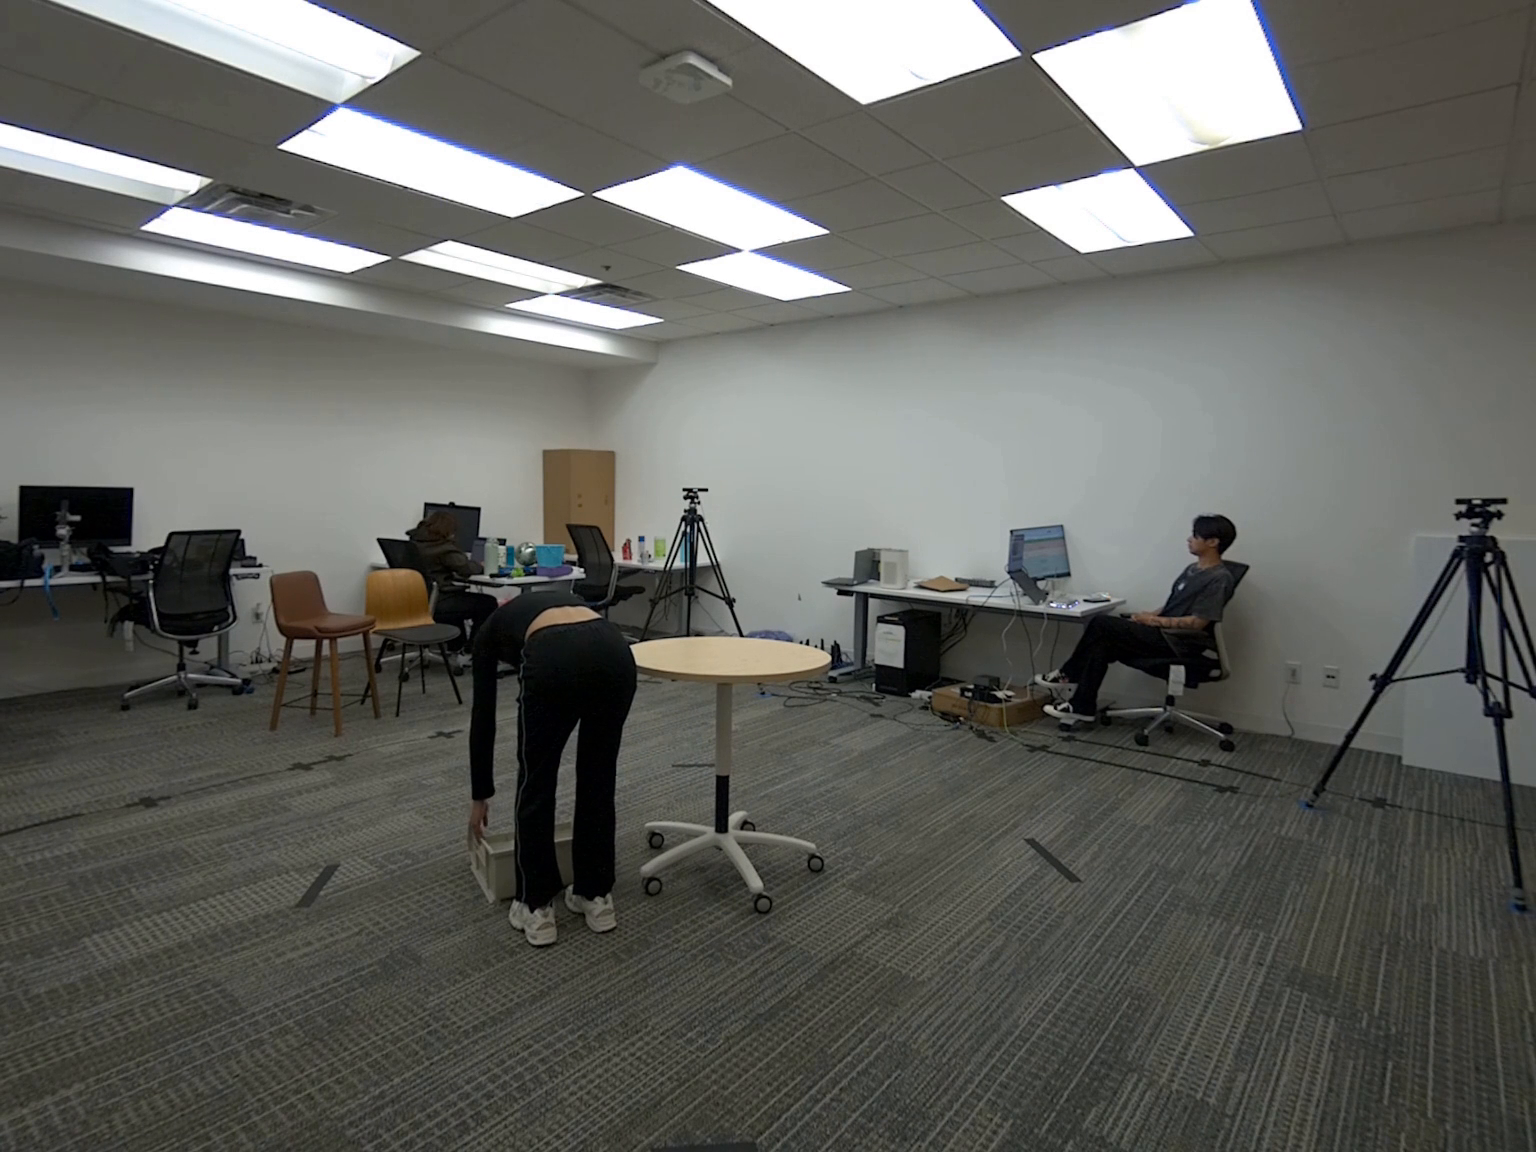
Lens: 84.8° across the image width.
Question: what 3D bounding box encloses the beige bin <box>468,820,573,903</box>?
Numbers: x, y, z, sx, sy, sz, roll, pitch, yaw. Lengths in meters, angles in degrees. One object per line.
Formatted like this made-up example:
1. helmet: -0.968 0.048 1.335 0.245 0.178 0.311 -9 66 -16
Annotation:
1. beige bin: -0.842 0.971 3.061 0.411 0.188 0.389 -2 7 -30
